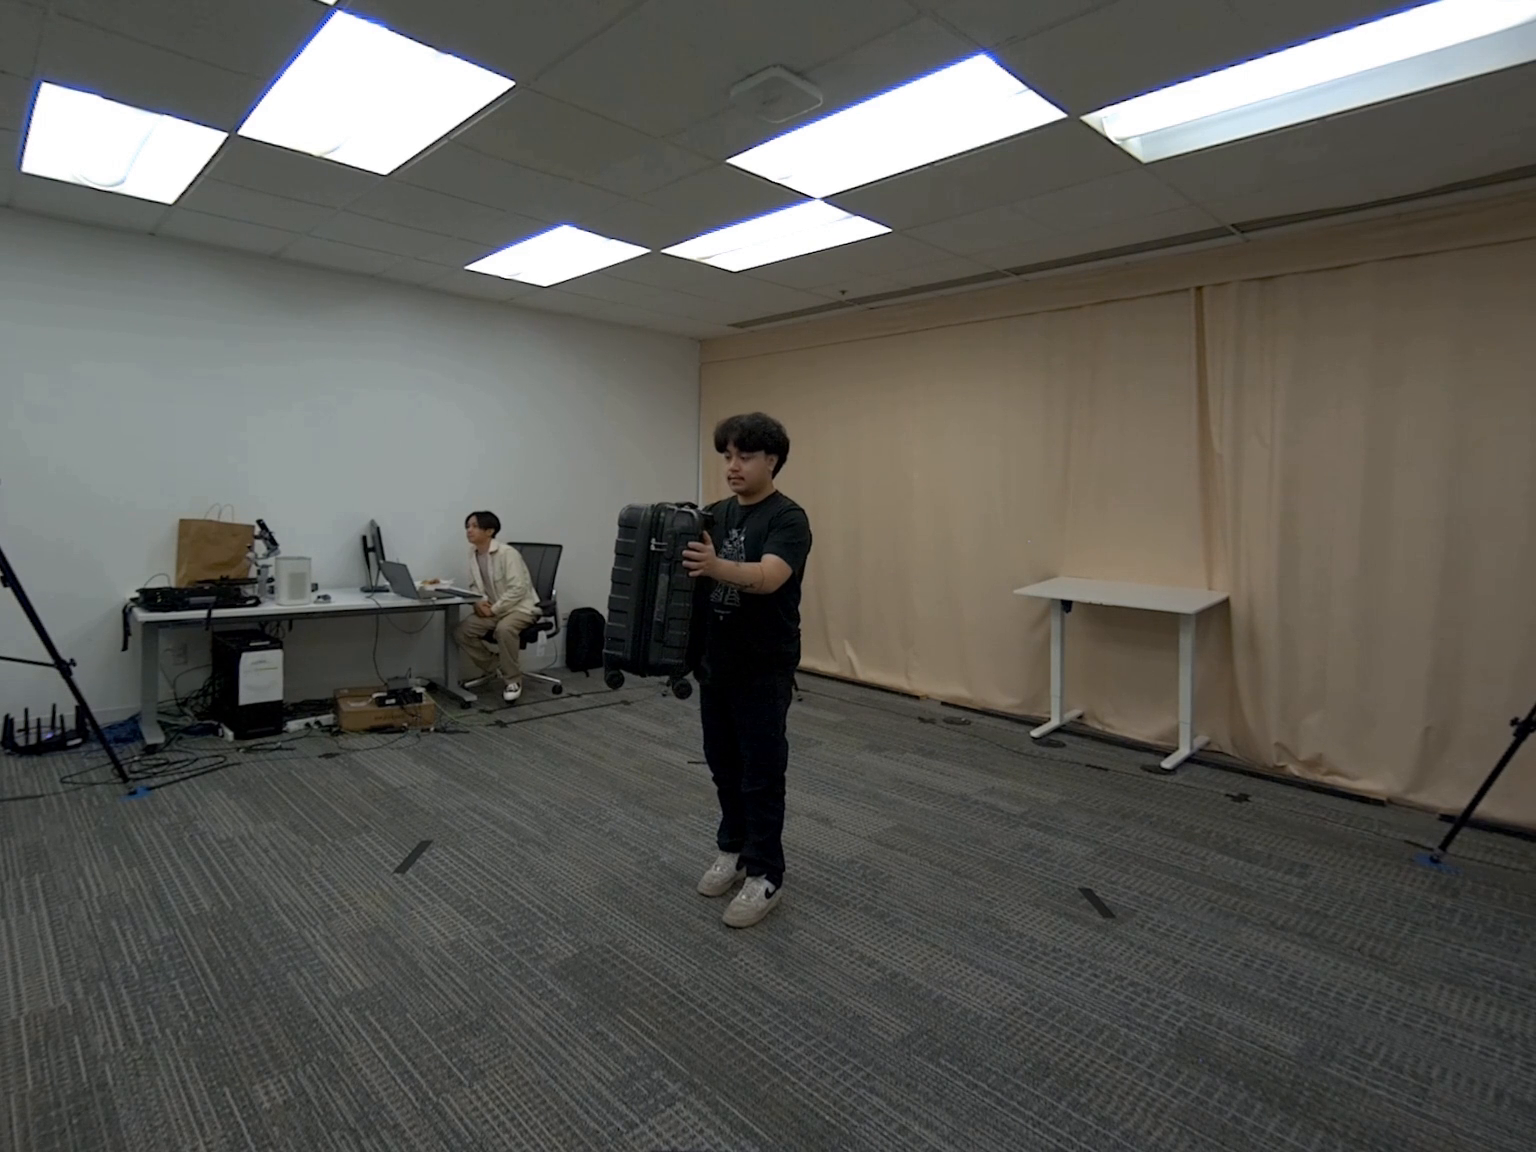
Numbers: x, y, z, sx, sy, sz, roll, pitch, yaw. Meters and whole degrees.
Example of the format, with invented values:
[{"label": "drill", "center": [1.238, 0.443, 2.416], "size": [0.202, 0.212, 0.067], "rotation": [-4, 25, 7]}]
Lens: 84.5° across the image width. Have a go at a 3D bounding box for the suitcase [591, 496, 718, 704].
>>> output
[{"label": "suitcase", "center": [-0.316, 0.052, 2.520], "size": [0.251, 0.548, 0.372], "rotation": [6, 3, 11]}]
